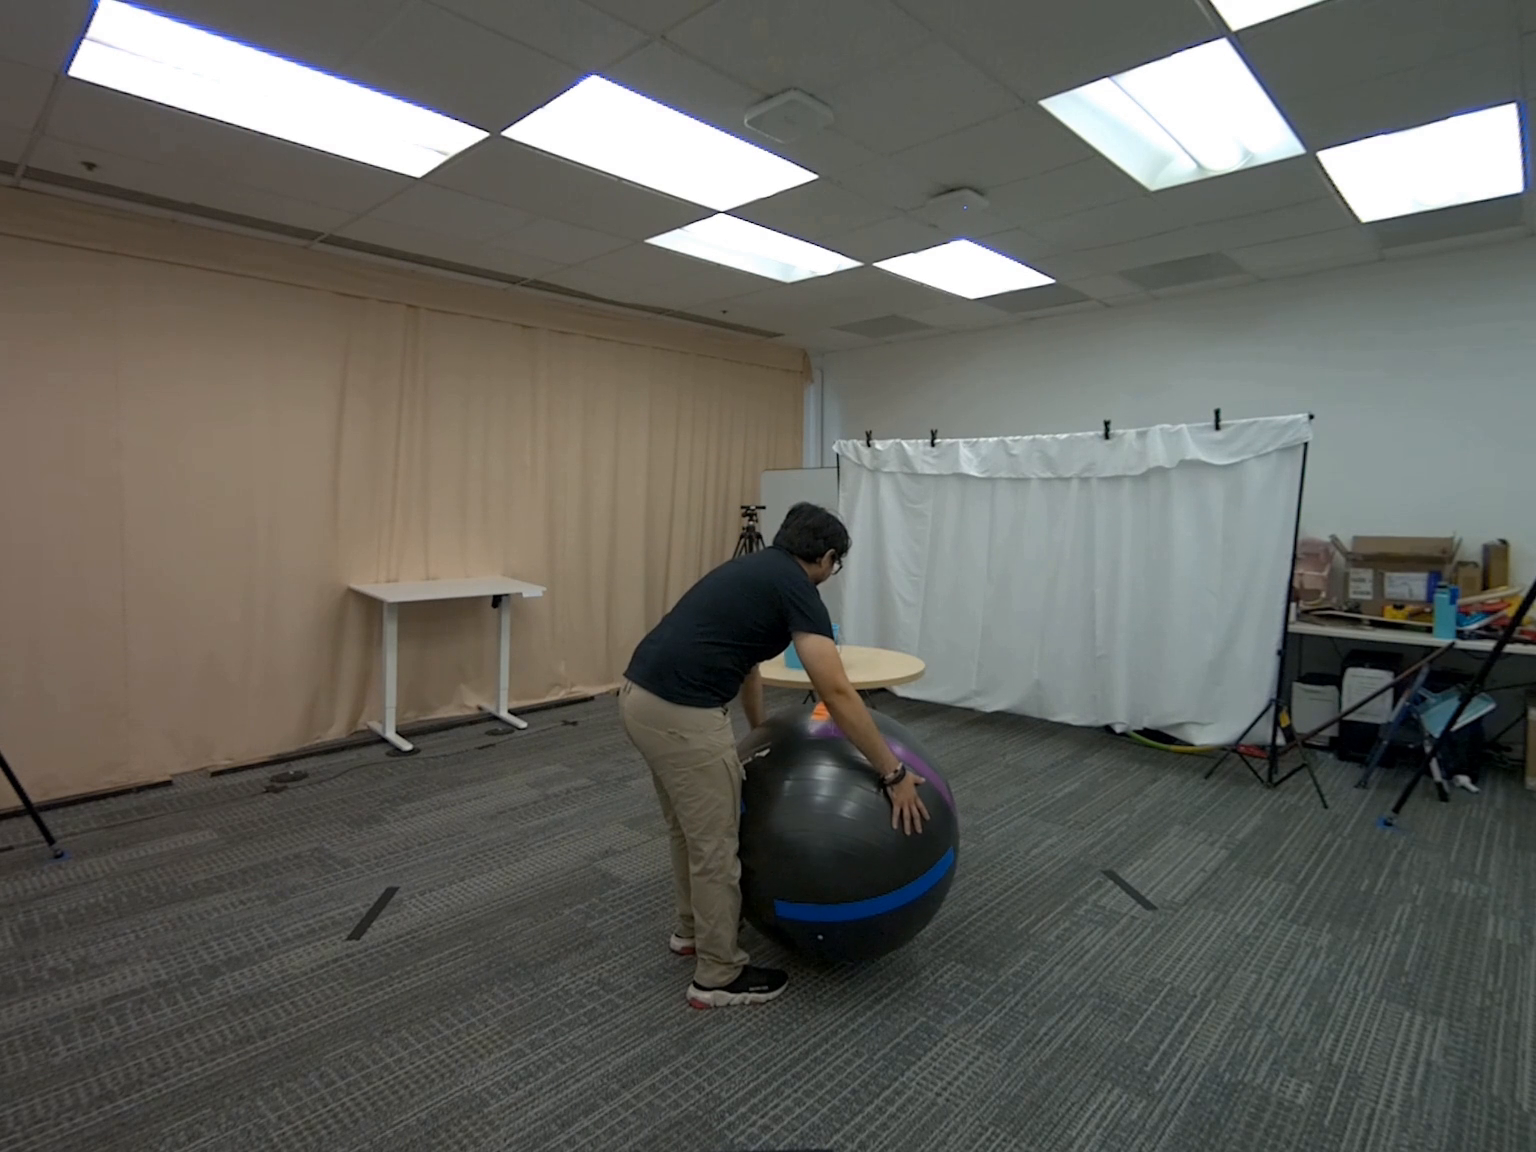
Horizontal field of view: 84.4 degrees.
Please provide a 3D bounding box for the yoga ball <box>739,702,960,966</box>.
[{"bbox_3d":[0.211,0.777,2.591,0.757,0.756,0.760,0,4,-2],"label":"yoga ball"}]
